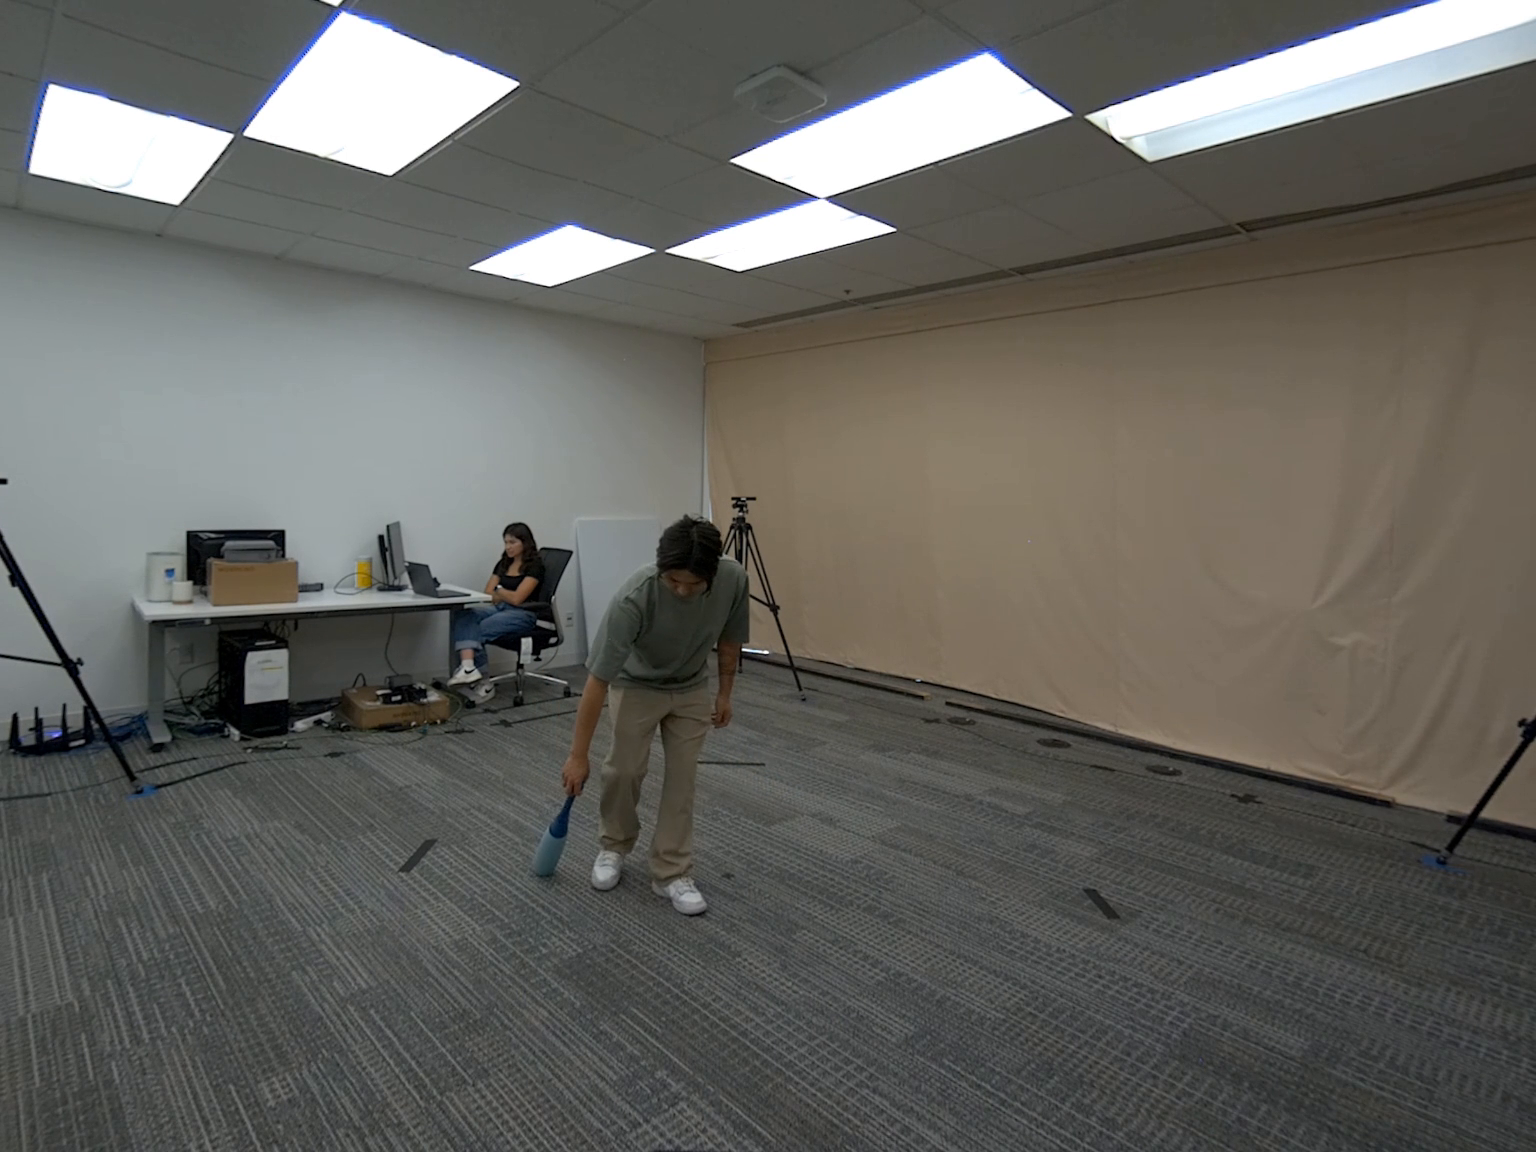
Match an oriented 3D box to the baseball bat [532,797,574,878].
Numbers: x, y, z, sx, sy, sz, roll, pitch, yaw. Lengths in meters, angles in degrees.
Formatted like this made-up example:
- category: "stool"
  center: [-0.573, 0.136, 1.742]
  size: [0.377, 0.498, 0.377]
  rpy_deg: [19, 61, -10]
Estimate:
- category: "baseball bat"
  center: [-0.731, 0.876, 2.938]
  size: [0.088, 0.537, 0.091]
  rpy_deg: [15, 39, -14]
